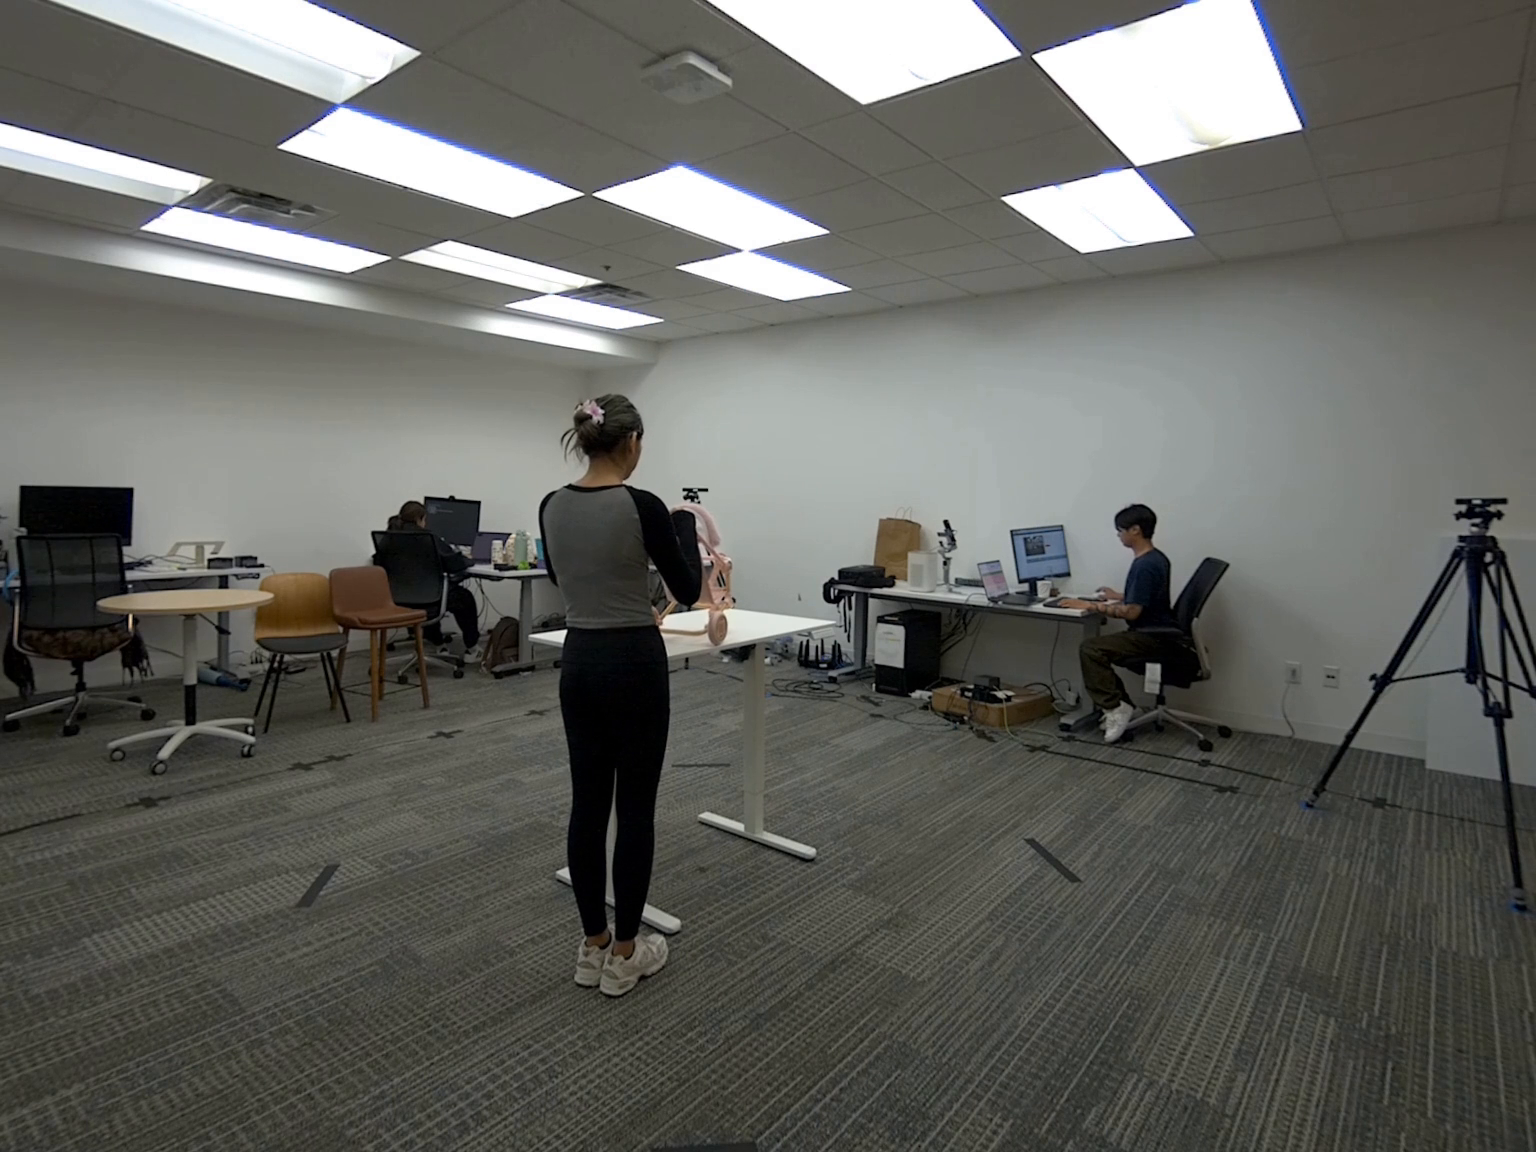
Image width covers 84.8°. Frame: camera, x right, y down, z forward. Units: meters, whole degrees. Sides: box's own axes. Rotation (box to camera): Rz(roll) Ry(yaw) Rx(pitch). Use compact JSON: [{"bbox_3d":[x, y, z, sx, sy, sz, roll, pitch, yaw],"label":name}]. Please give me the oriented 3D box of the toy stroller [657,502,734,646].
[{"bbox_3d":[-0.261,-0.011,2.839,0.289,0.525,0.338,4,21,27],"label":"toy stroller"}]
